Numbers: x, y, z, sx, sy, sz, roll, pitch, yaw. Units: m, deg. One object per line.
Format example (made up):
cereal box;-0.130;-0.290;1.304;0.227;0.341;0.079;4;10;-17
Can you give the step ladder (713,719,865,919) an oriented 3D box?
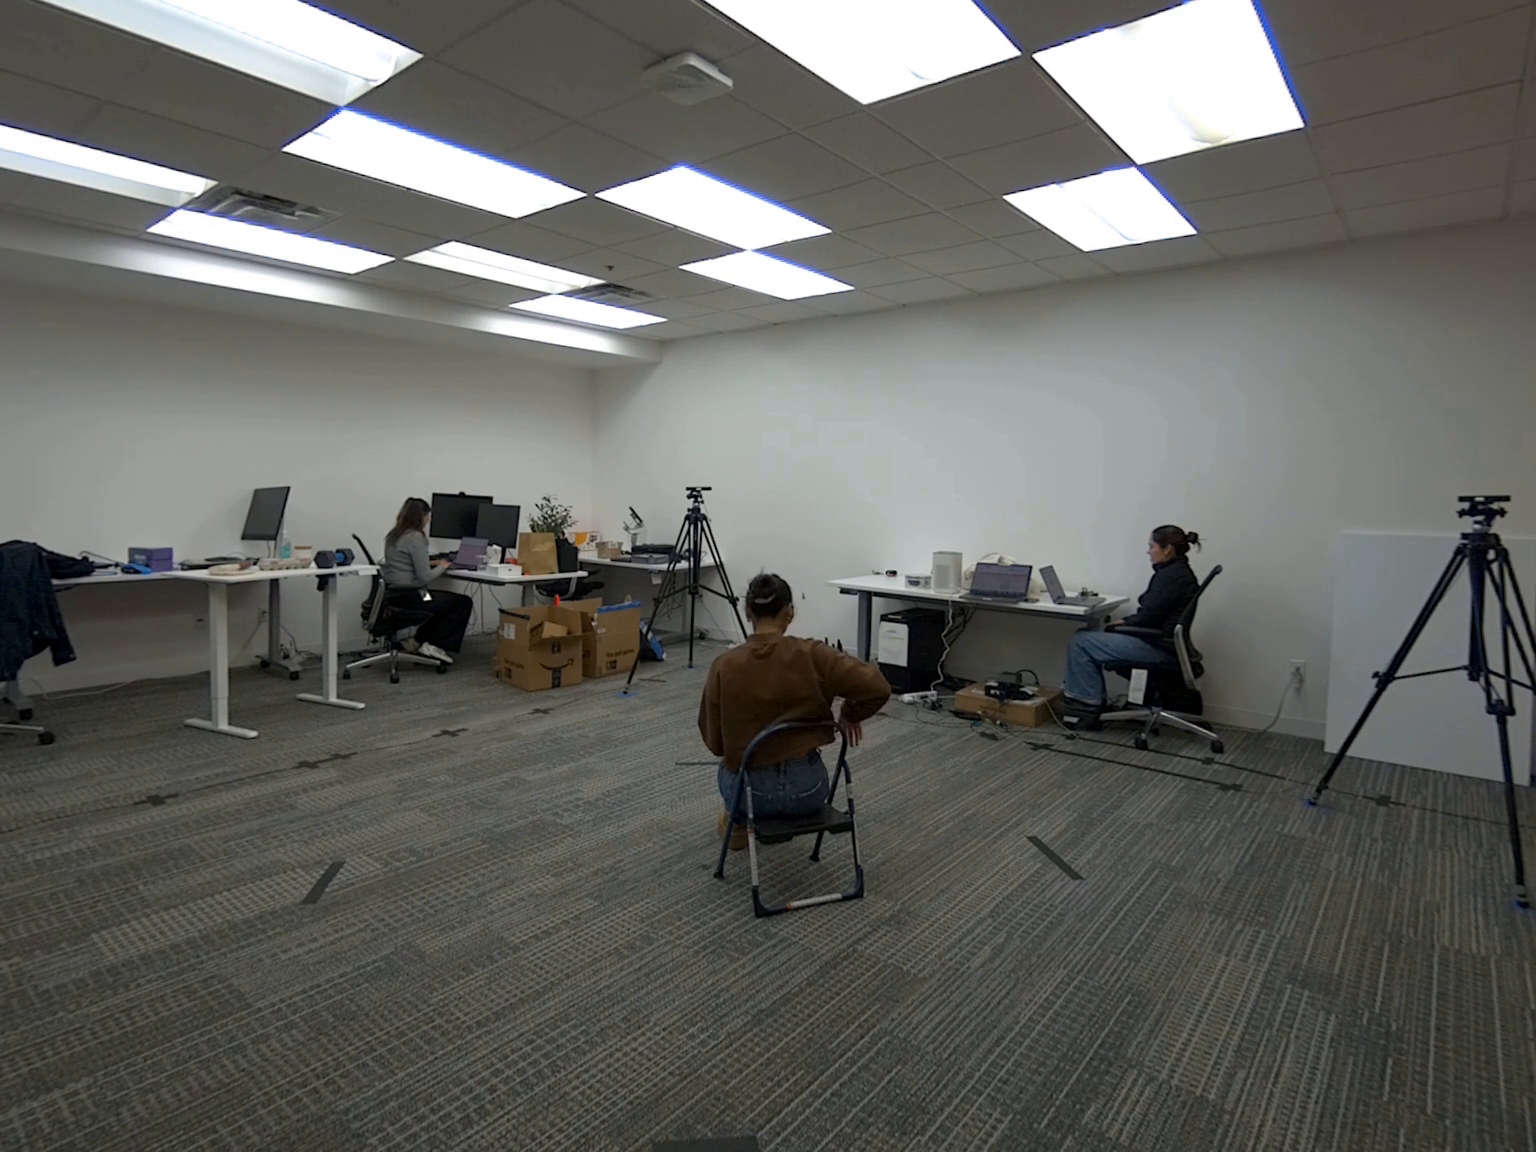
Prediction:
step ladder;0.068;0.788;2.969;0.420;0.604;0.359;-1;4;-26
